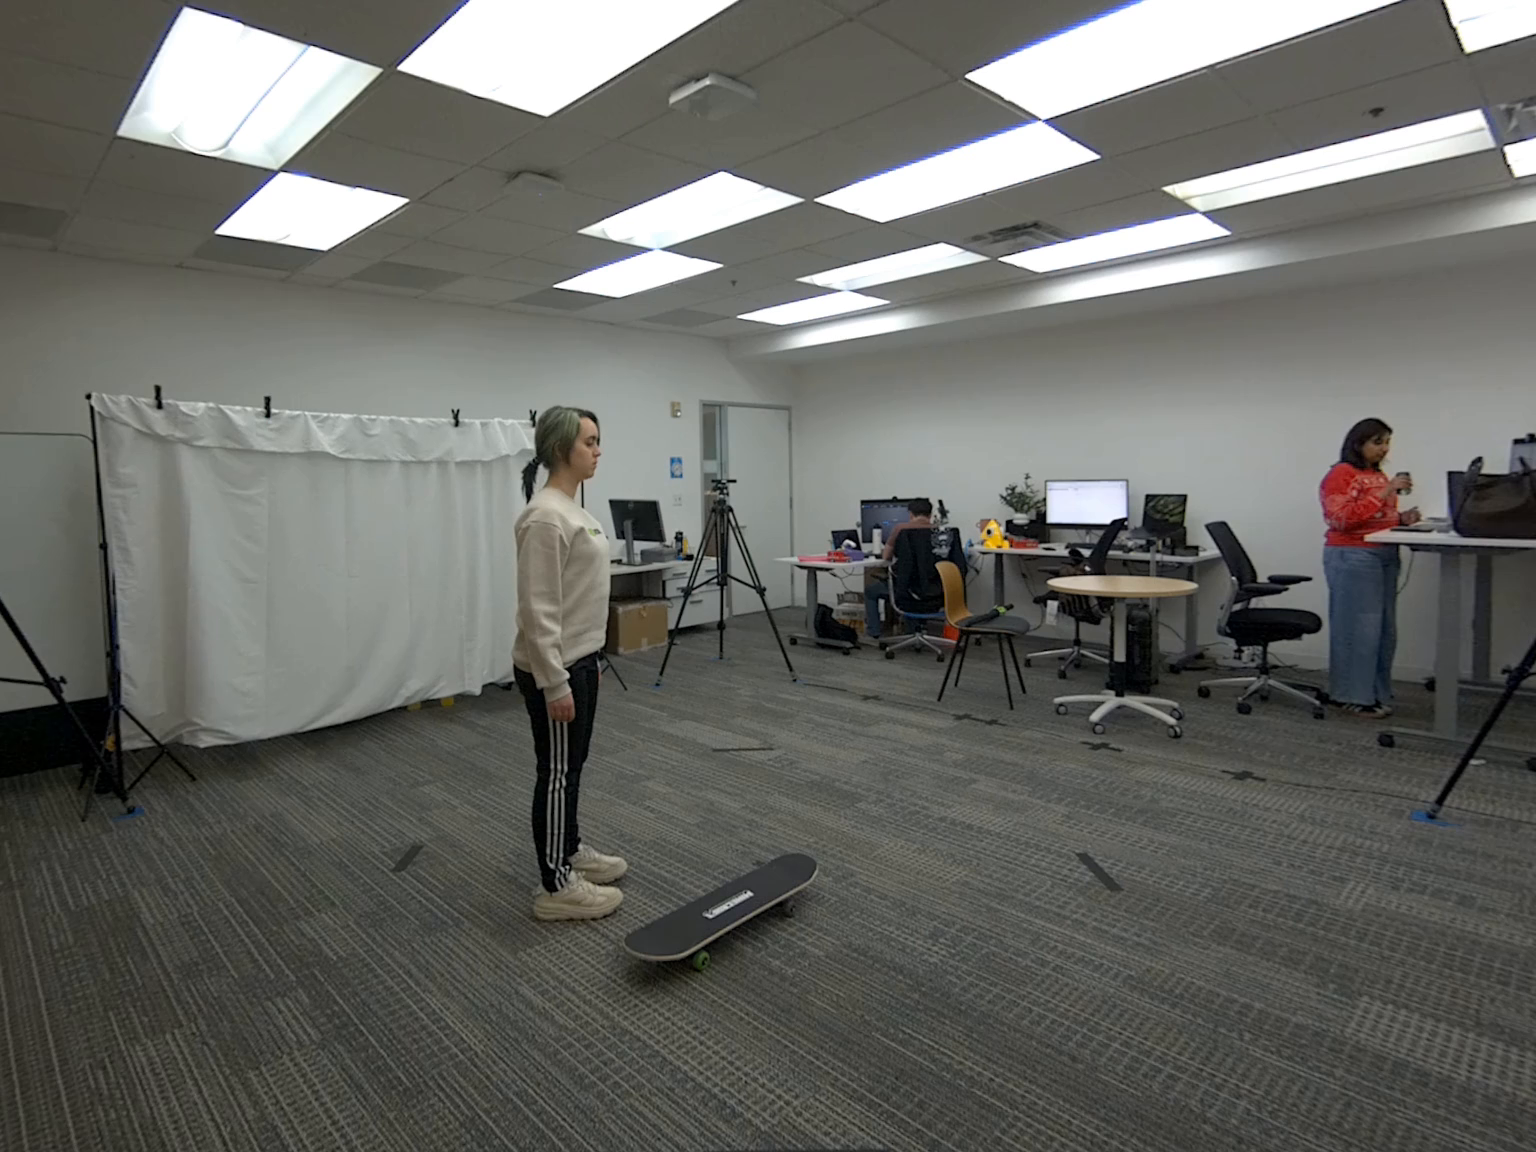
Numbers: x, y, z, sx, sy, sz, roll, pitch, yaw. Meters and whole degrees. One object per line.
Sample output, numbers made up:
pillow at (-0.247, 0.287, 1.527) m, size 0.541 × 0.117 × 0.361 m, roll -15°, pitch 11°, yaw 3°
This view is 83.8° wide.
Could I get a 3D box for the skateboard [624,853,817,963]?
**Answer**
skateboard at (-0.120, 1.046, 2.645) m, size 0.199 × 0.110 × 0.765 m, roll 4°, pitch 8°, yaw 42°
